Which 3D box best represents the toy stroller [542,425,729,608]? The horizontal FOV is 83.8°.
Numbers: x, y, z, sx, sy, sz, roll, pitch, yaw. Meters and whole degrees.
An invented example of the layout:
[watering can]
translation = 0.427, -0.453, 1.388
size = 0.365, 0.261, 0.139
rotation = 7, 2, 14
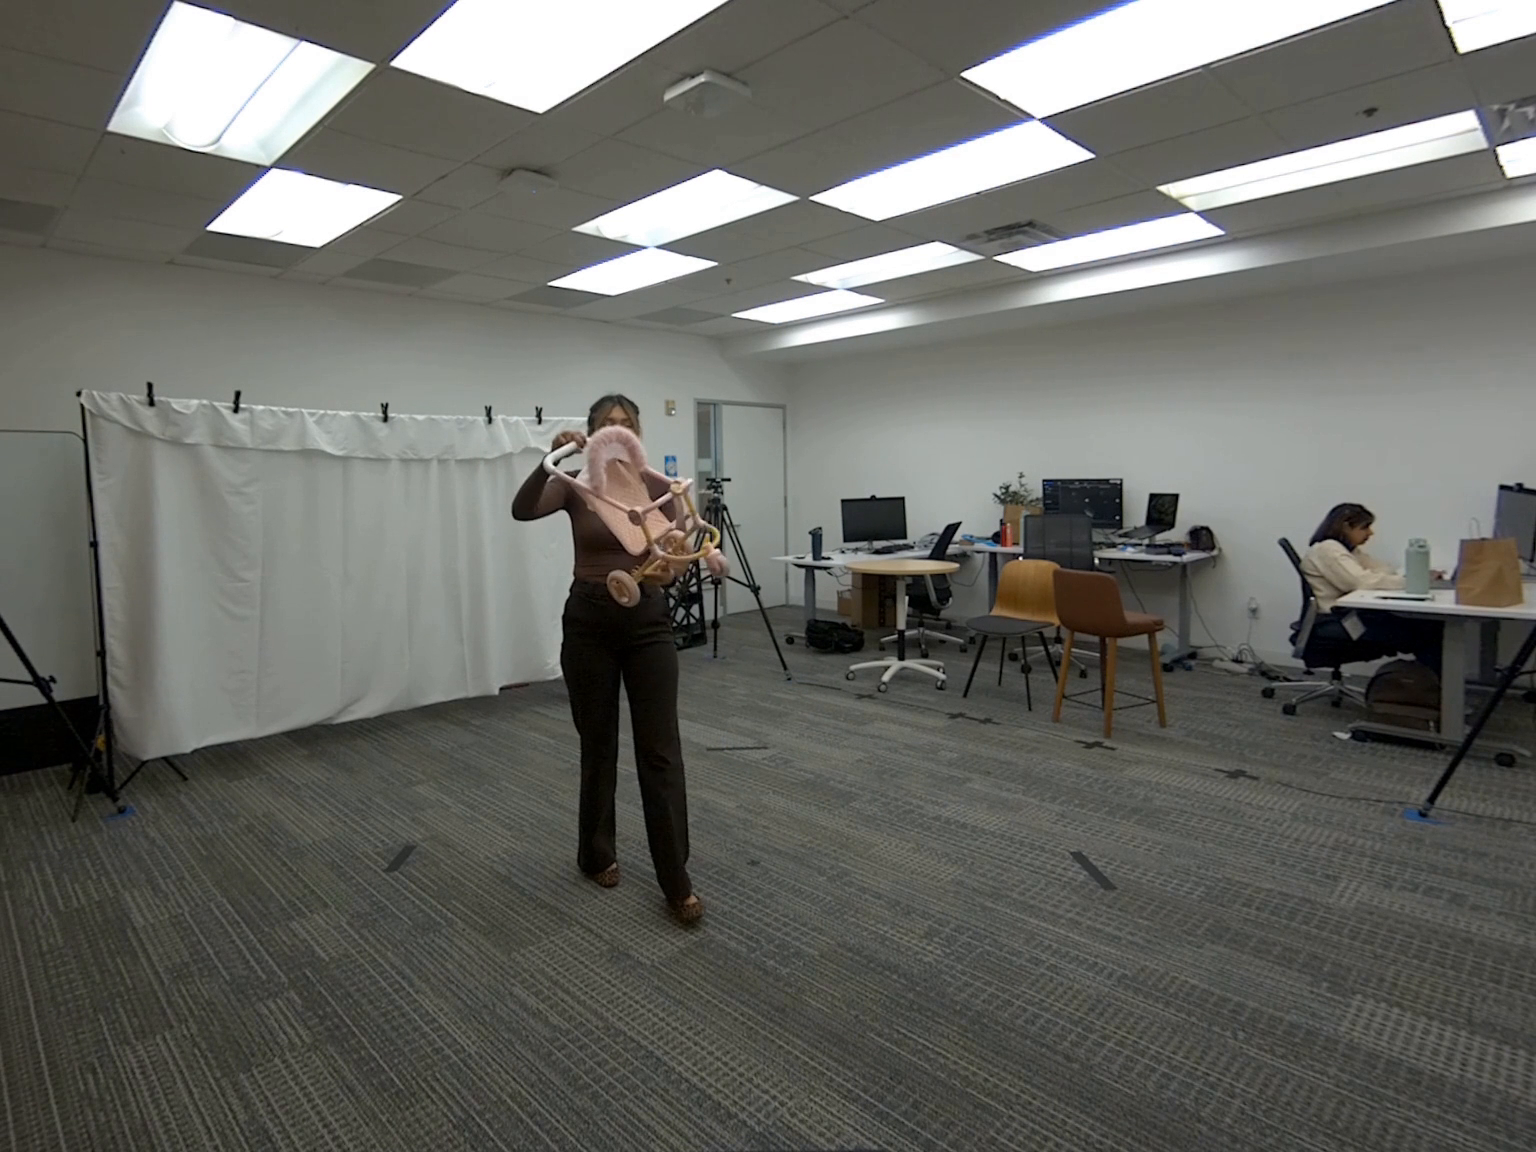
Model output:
[toy stroller]
translation = -0.339, -0.180, 2.327
size = 0.279, 0.532, 0.346
rotation = -35, 6, -40
